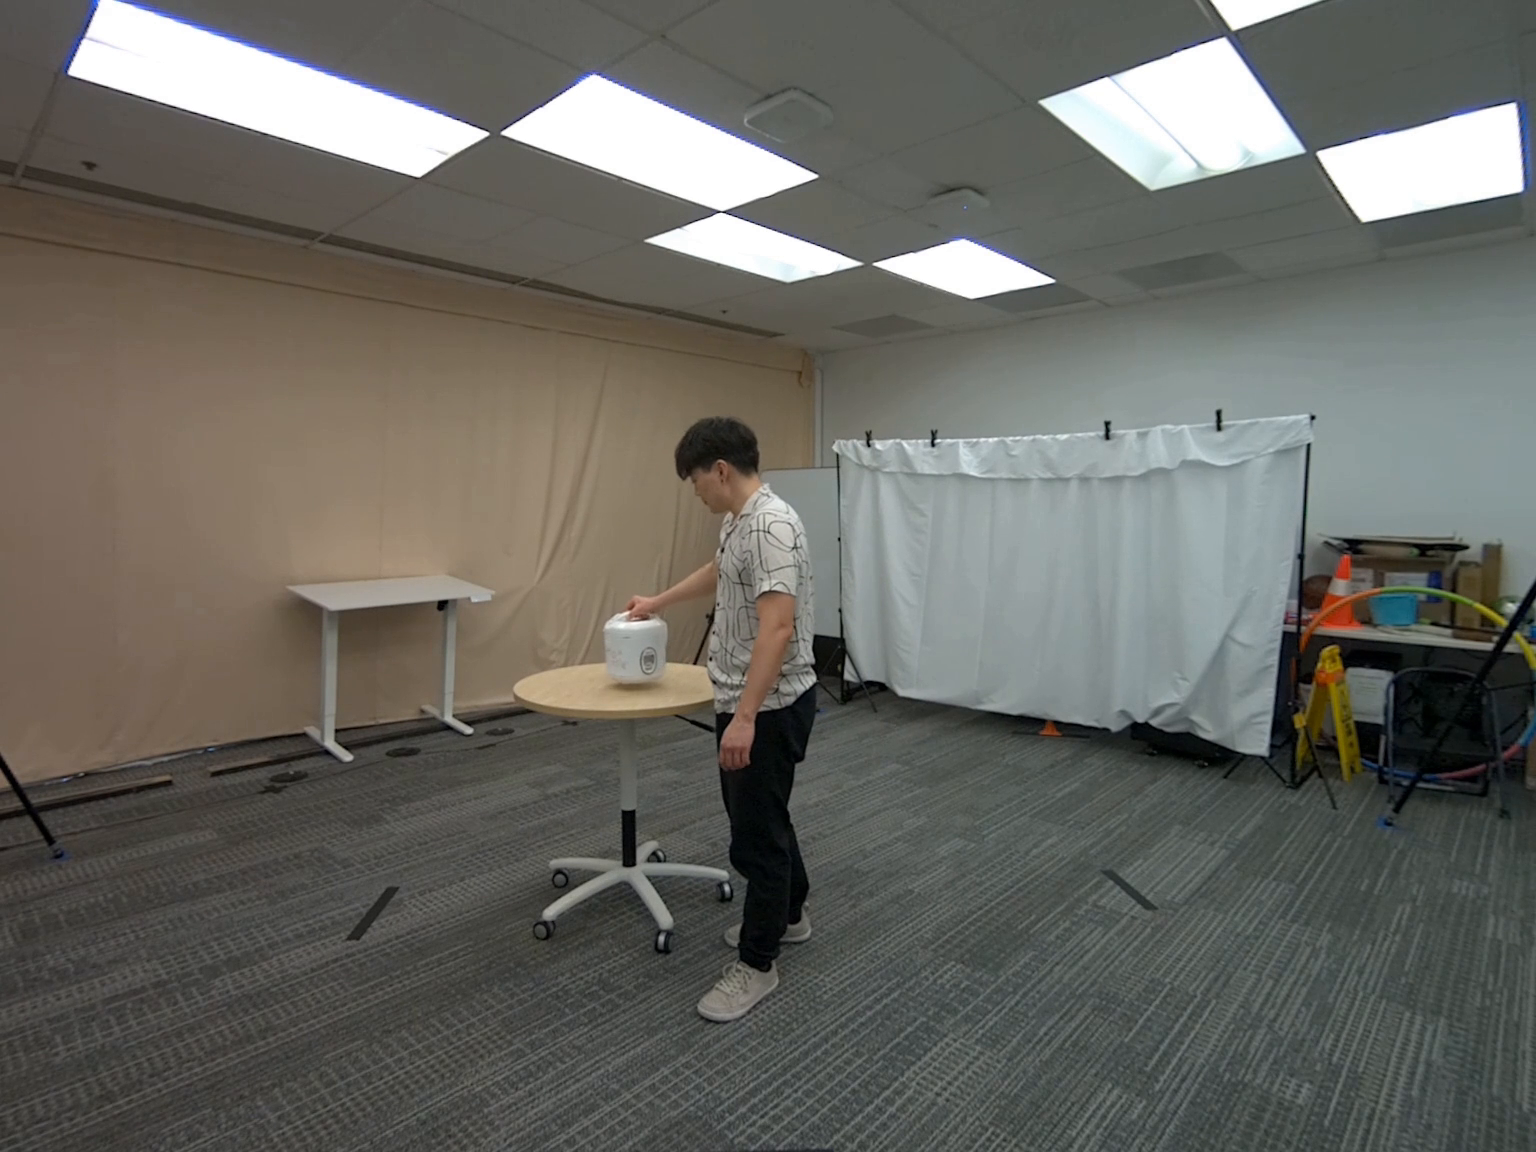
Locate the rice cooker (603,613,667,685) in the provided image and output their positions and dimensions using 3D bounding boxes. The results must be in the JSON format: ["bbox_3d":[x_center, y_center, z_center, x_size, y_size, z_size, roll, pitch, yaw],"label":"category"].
[{"bbox_3d":[-0.445,0.230,2.849,0.215,0.232,0.224,-5,7,-30],"label":"rice cooker"}]
